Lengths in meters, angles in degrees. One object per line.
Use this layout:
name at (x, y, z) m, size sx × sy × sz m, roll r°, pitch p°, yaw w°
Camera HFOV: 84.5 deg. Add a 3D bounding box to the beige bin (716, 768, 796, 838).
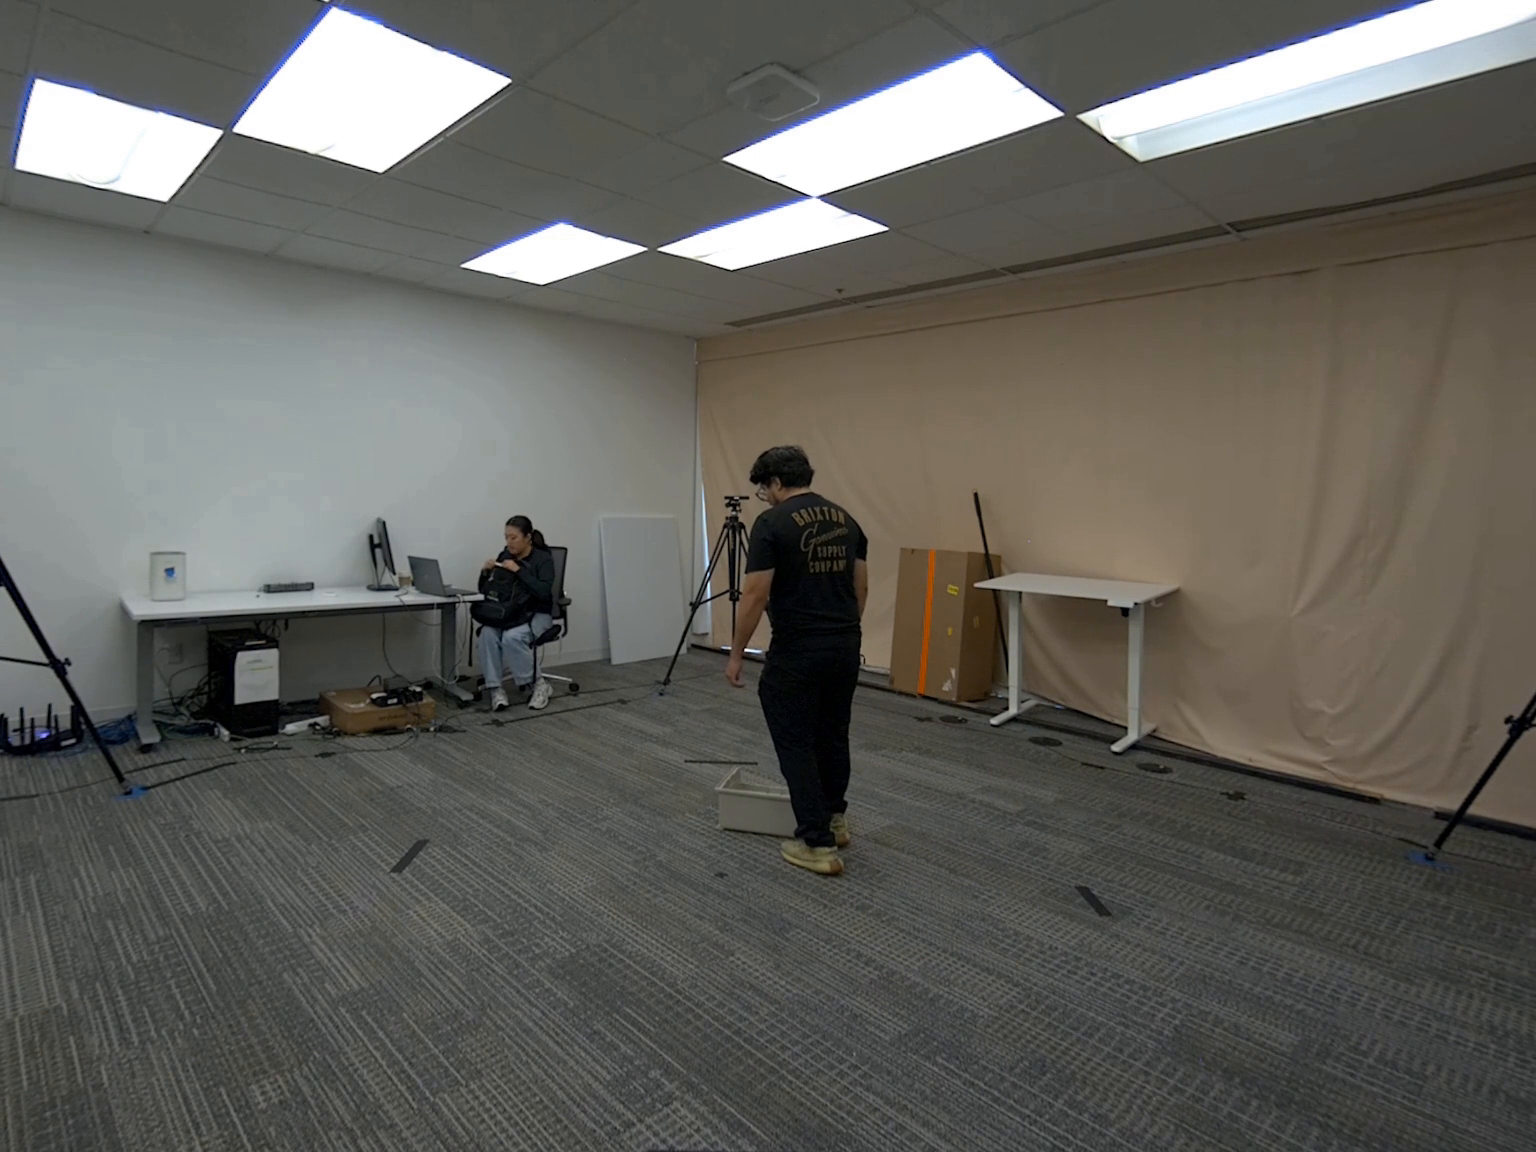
beige bin at (0.010, 0.972, 3.647) m, size 0.427 × 0.188 × 0.374 m, roll 3°, pitch 6°, yaw 14°
